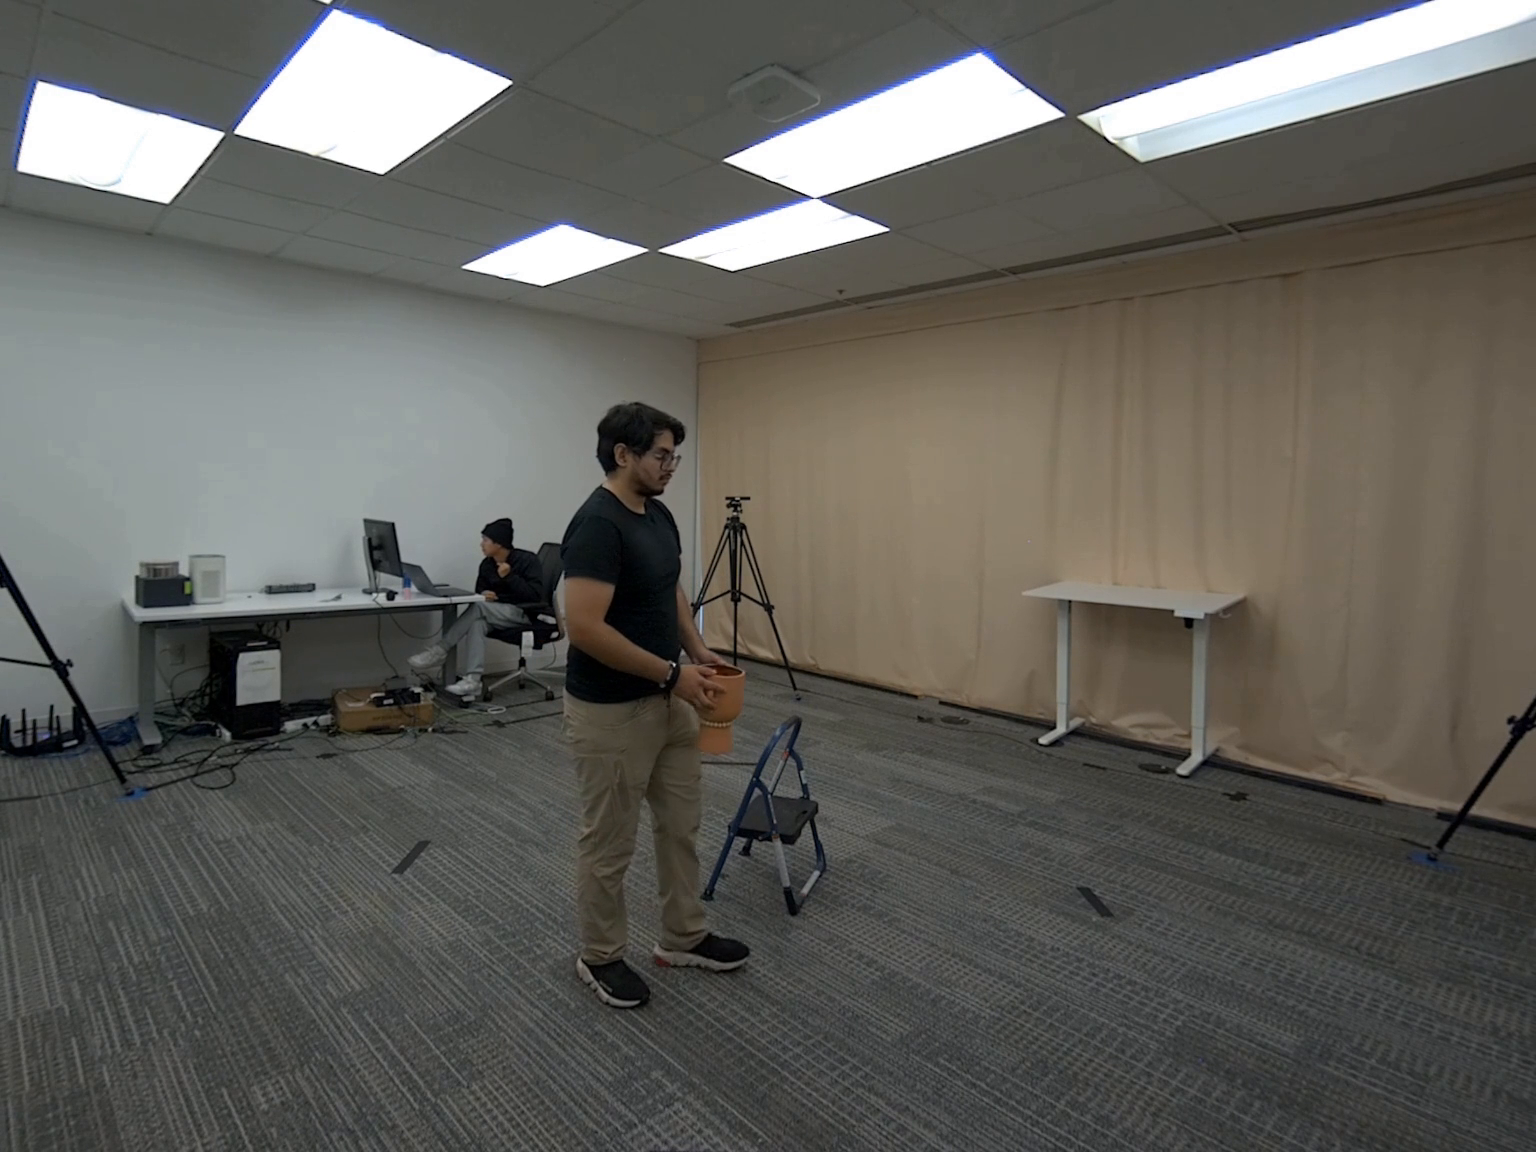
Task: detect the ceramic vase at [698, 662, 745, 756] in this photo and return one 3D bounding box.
[{"bbox_3d":[-0.154,0.367,2.284,0.155,0.219,0.138,-1,9,-43],"label":"ceramic vase"}]
